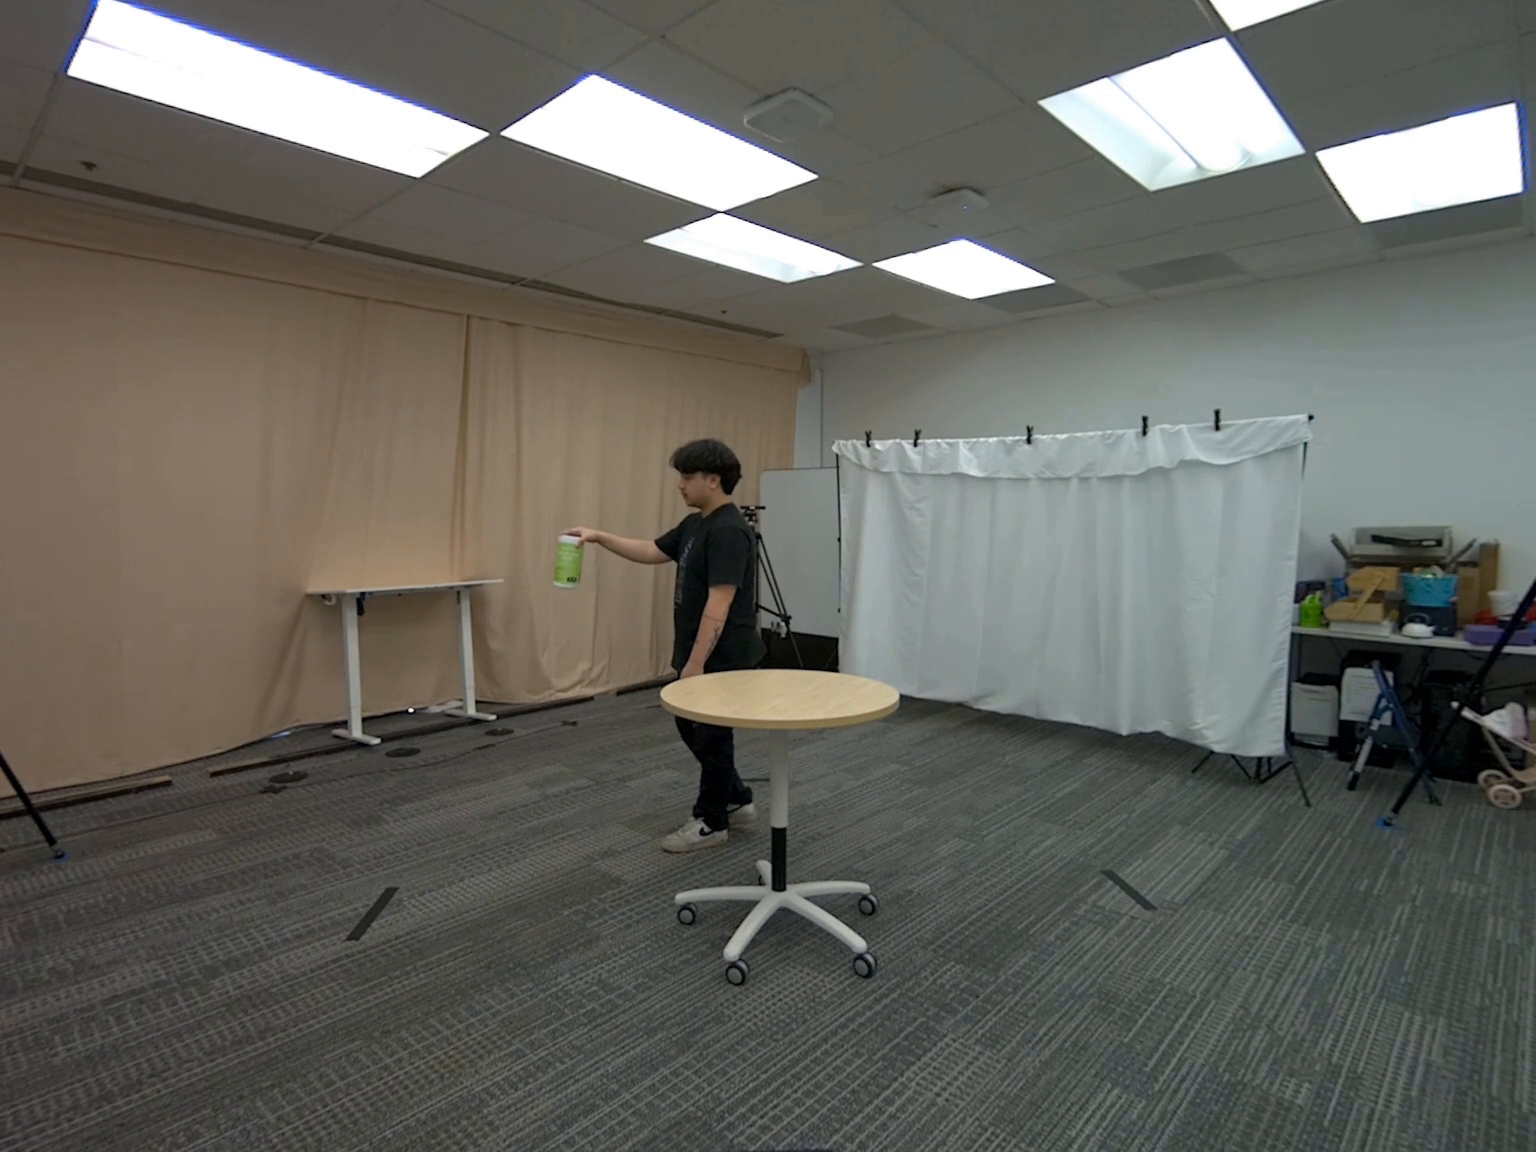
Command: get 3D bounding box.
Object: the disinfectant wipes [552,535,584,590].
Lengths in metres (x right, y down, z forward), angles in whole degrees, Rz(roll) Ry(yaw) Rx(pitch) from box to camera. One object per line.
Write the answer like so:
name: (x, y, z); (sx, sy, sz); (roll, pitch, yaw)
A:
disinfectant wipes: (-0.828, -0.057, 3.494); (0.117, 0.217, 0.118); (7, 3, -2)
